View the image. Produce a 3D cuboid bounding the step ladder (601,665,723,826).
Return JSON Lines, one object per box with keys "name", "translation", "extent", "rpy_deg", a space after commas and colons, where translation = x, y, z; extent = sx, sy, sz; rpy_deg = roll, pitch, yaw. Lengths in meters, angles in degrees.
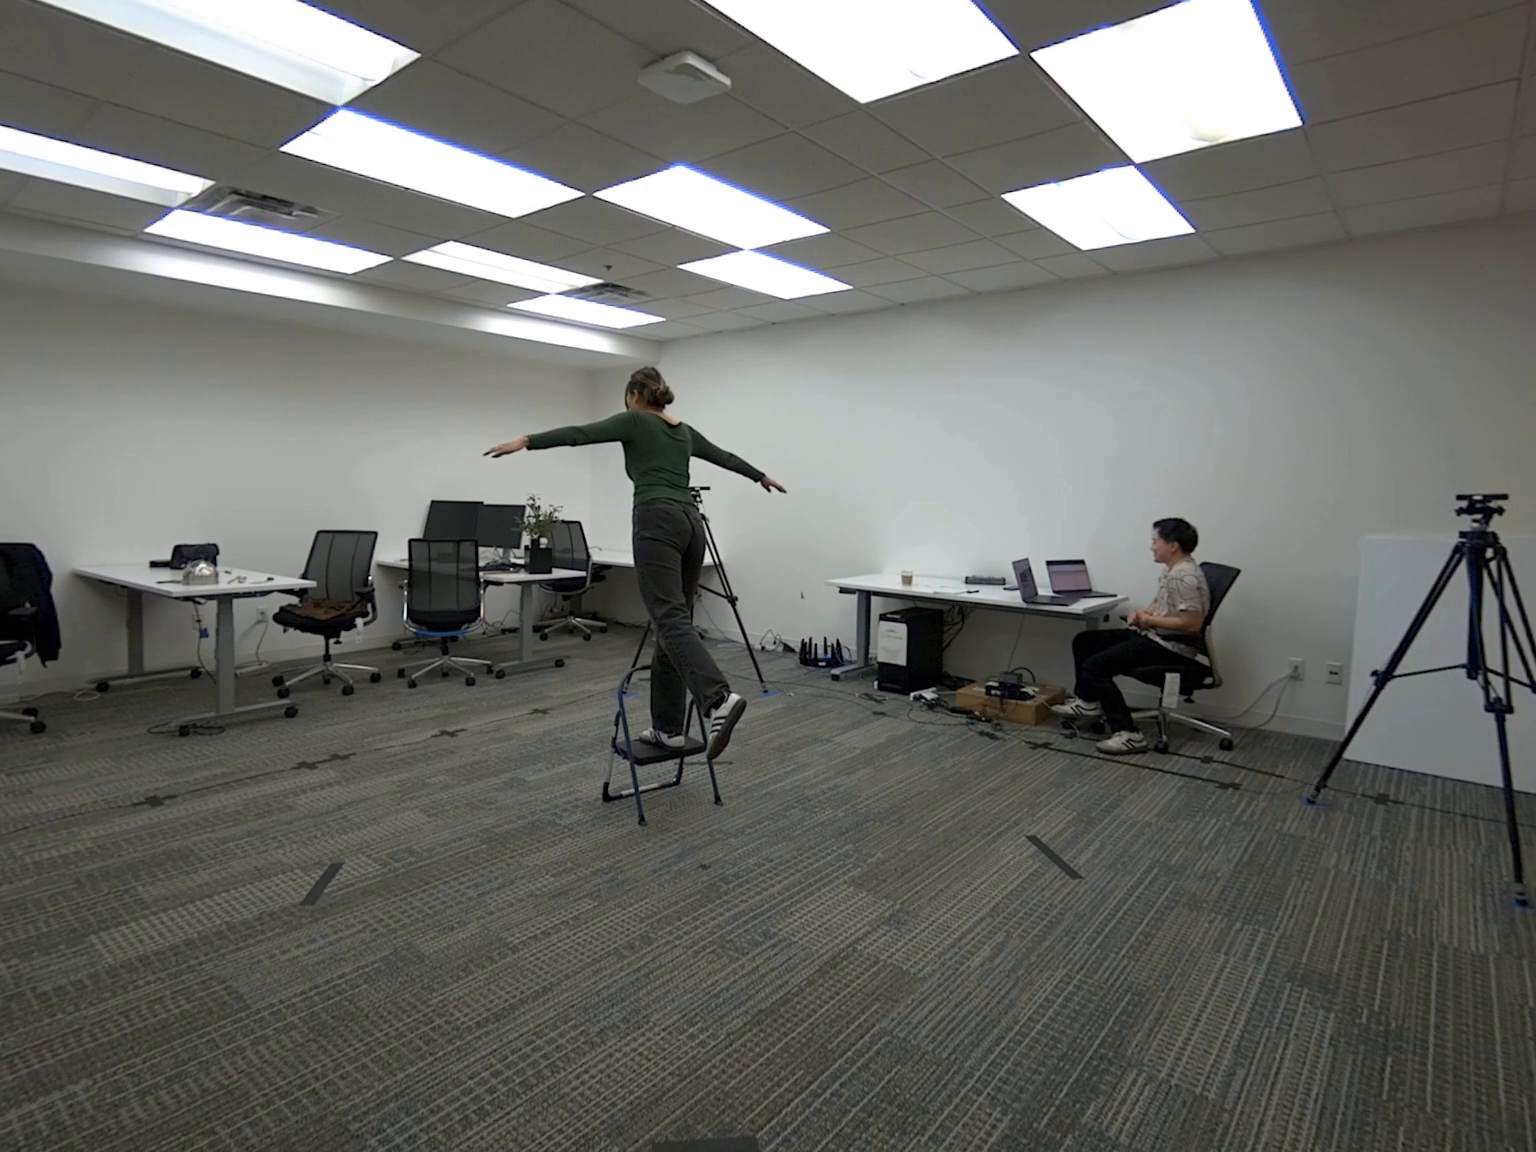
{"name": "step ladder", "translation": [-0.477, 0.698, 3.740], "extent": [0.418, 0.604, 0.361], "rpy_deg": [-2, 4, -40]}
